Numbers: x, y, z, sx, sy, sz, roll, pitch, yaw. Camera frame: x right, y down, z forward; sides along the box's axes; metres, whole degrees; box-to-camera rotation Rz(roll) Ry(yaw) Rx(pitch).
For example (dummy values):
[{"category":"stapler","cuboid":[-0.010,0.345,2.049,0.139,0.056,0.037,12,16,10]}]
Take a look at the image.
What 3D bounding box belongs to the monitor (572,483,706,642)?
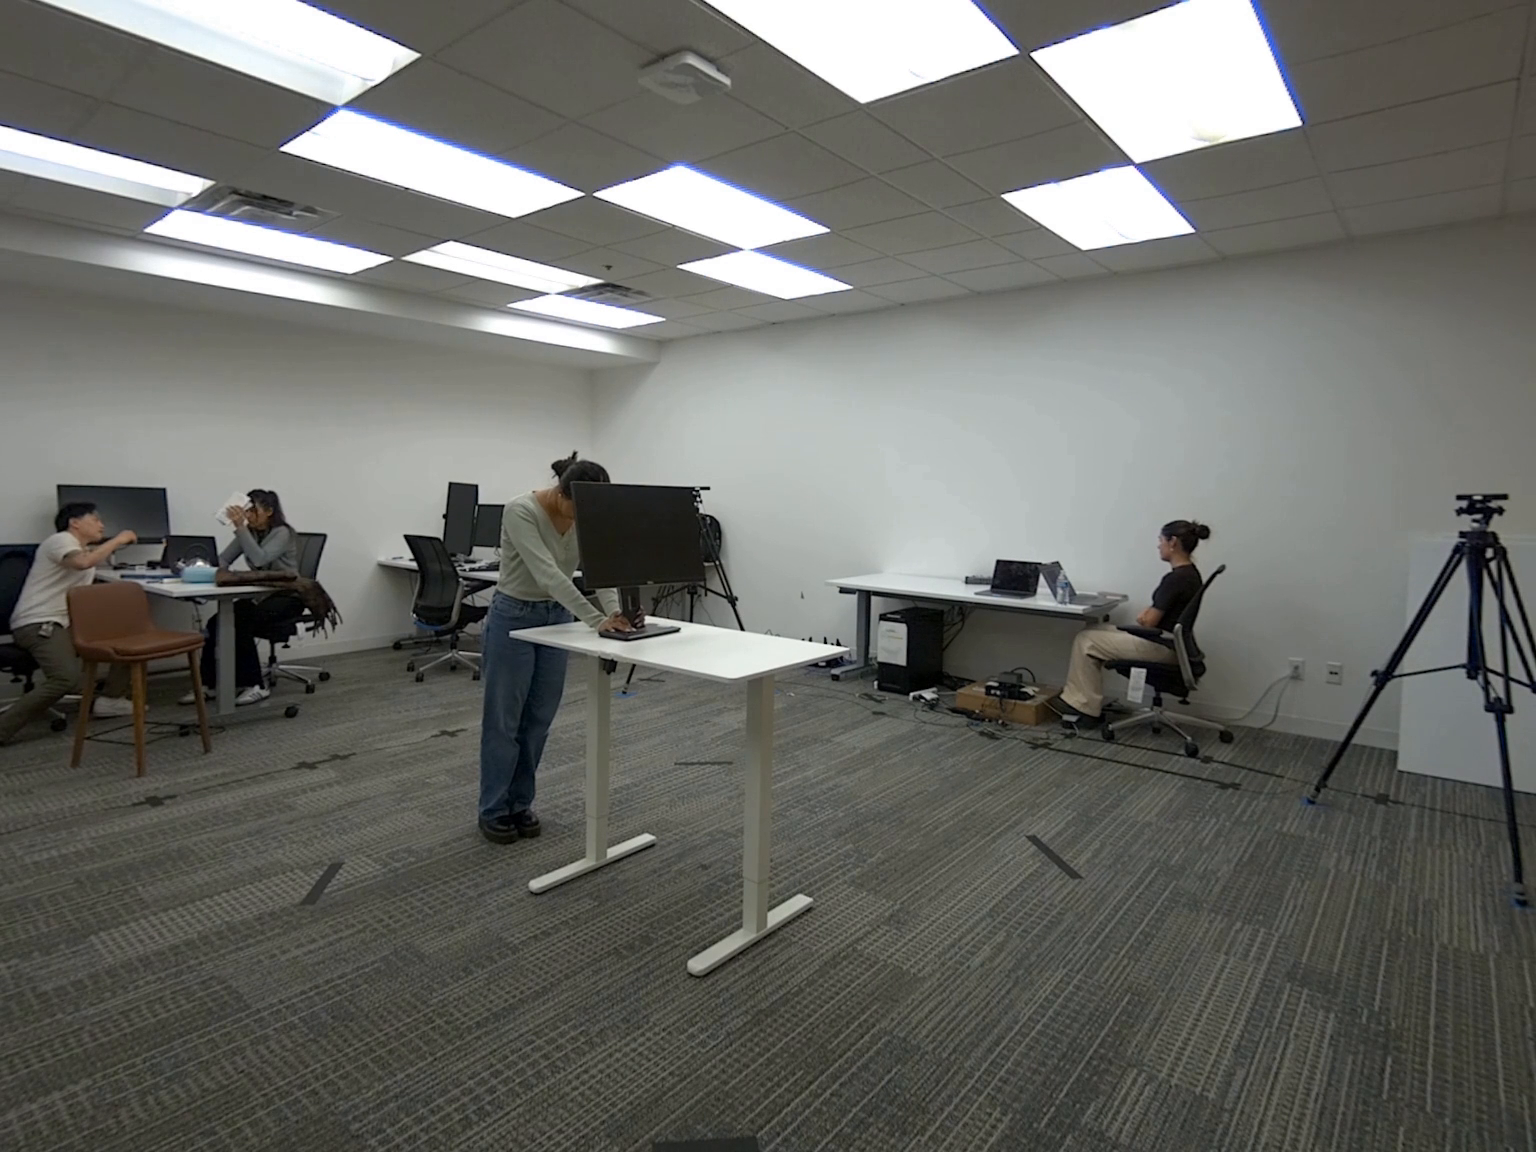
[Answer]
[{"category":"monitor","cuboid":[-0.457,-0.057,2.922,0.193,0.521,0.523,4,5,43]}]
